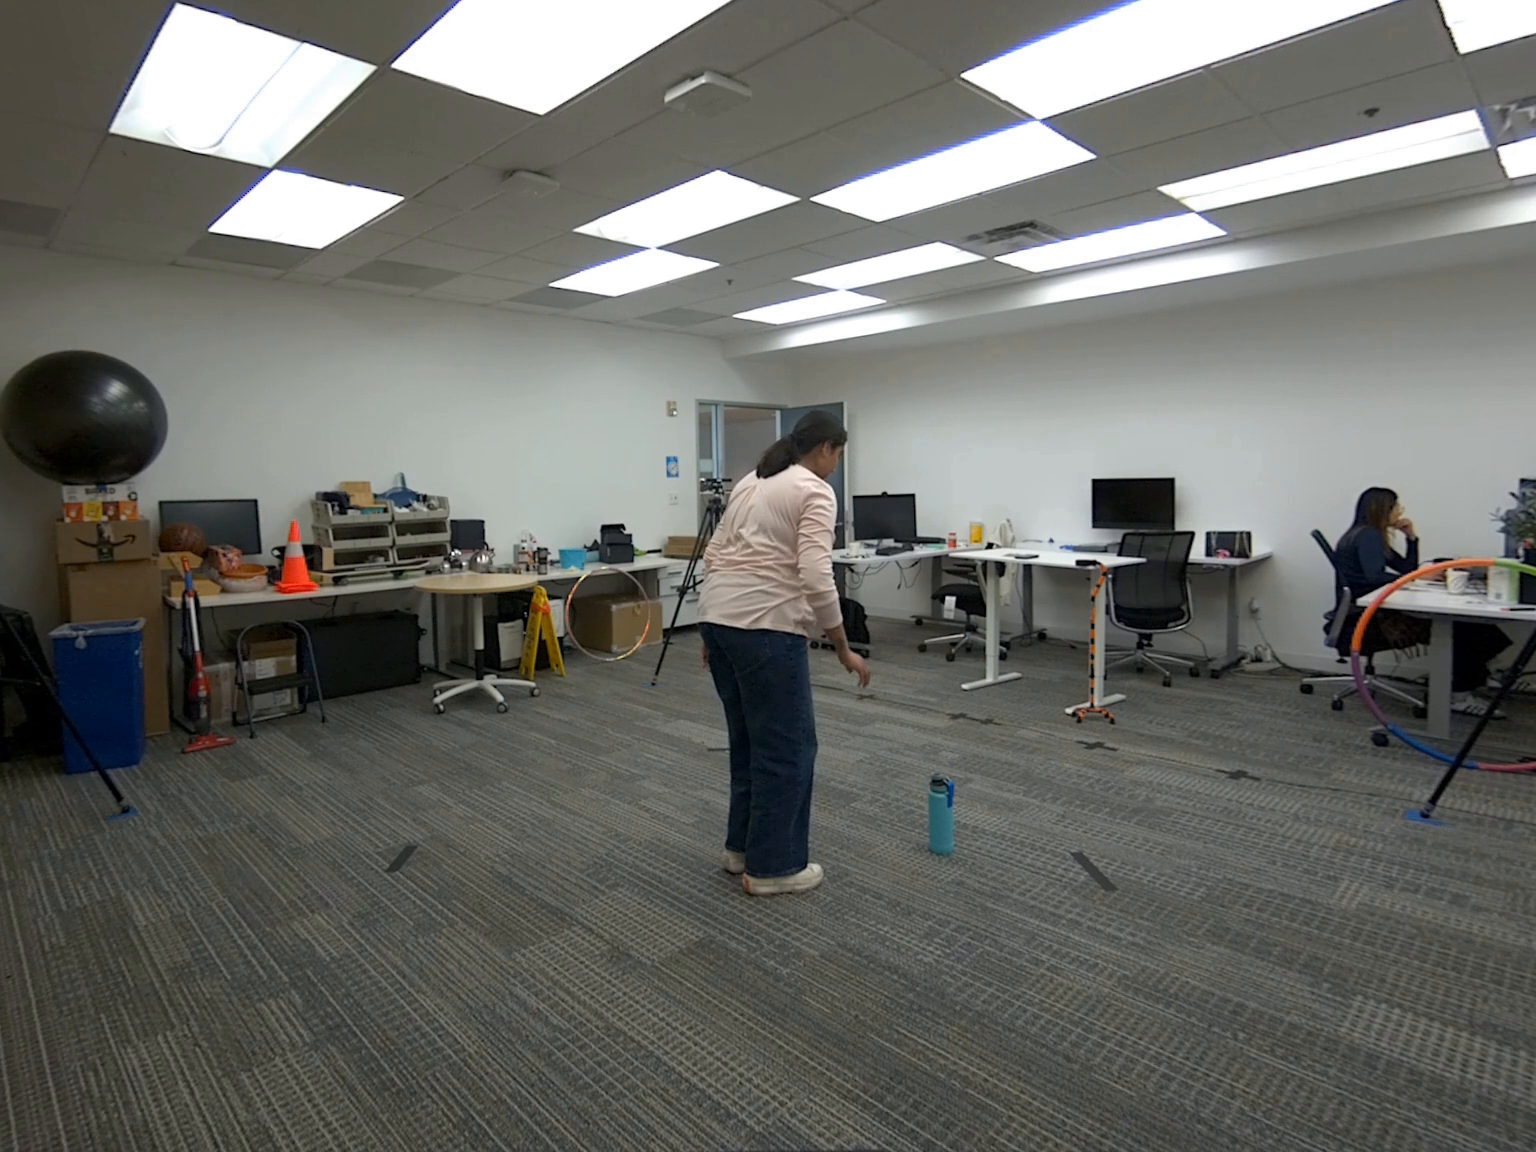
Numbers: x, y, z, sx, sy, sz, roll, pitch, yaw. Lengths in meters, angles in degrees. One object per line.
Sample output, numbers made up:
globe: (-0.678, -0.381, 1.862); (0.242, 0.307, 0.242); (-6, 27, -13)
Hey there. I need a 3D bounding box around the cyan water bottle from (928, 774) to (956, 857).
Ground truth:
cyan water bottle: (0.652, 0.884, 3.187); (0.092, 0.283, 0.092); (0, 3, -2)
